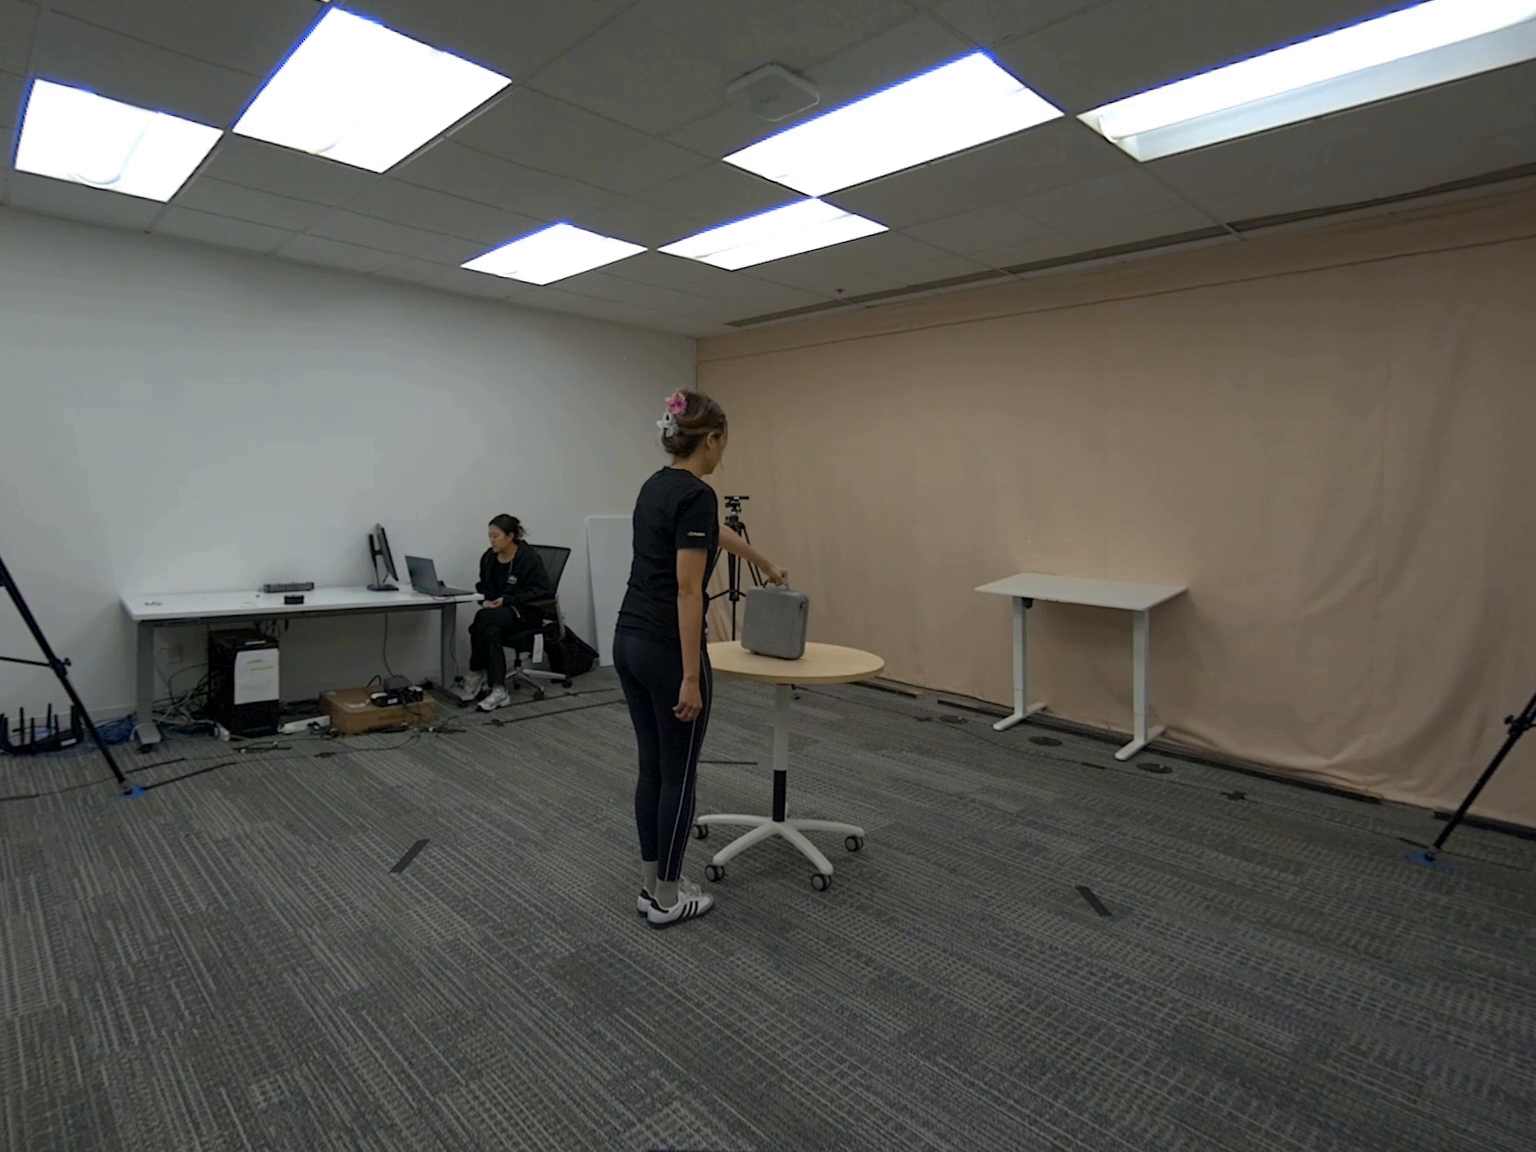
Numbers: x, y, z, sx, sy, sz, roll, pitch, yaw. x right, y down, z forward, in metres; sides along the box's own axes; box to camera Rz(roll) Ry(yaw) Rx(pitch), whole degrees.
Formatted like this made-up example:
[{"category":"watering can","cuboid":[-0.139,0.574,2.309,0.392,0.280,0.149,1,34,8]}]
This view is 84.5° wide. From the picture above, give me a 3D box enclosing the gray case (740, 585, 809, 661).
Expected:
[{"category":"gray case","cuboid":[0.021,0.172,3.245,0.263,0.260,0.102,6,3,37]}]
